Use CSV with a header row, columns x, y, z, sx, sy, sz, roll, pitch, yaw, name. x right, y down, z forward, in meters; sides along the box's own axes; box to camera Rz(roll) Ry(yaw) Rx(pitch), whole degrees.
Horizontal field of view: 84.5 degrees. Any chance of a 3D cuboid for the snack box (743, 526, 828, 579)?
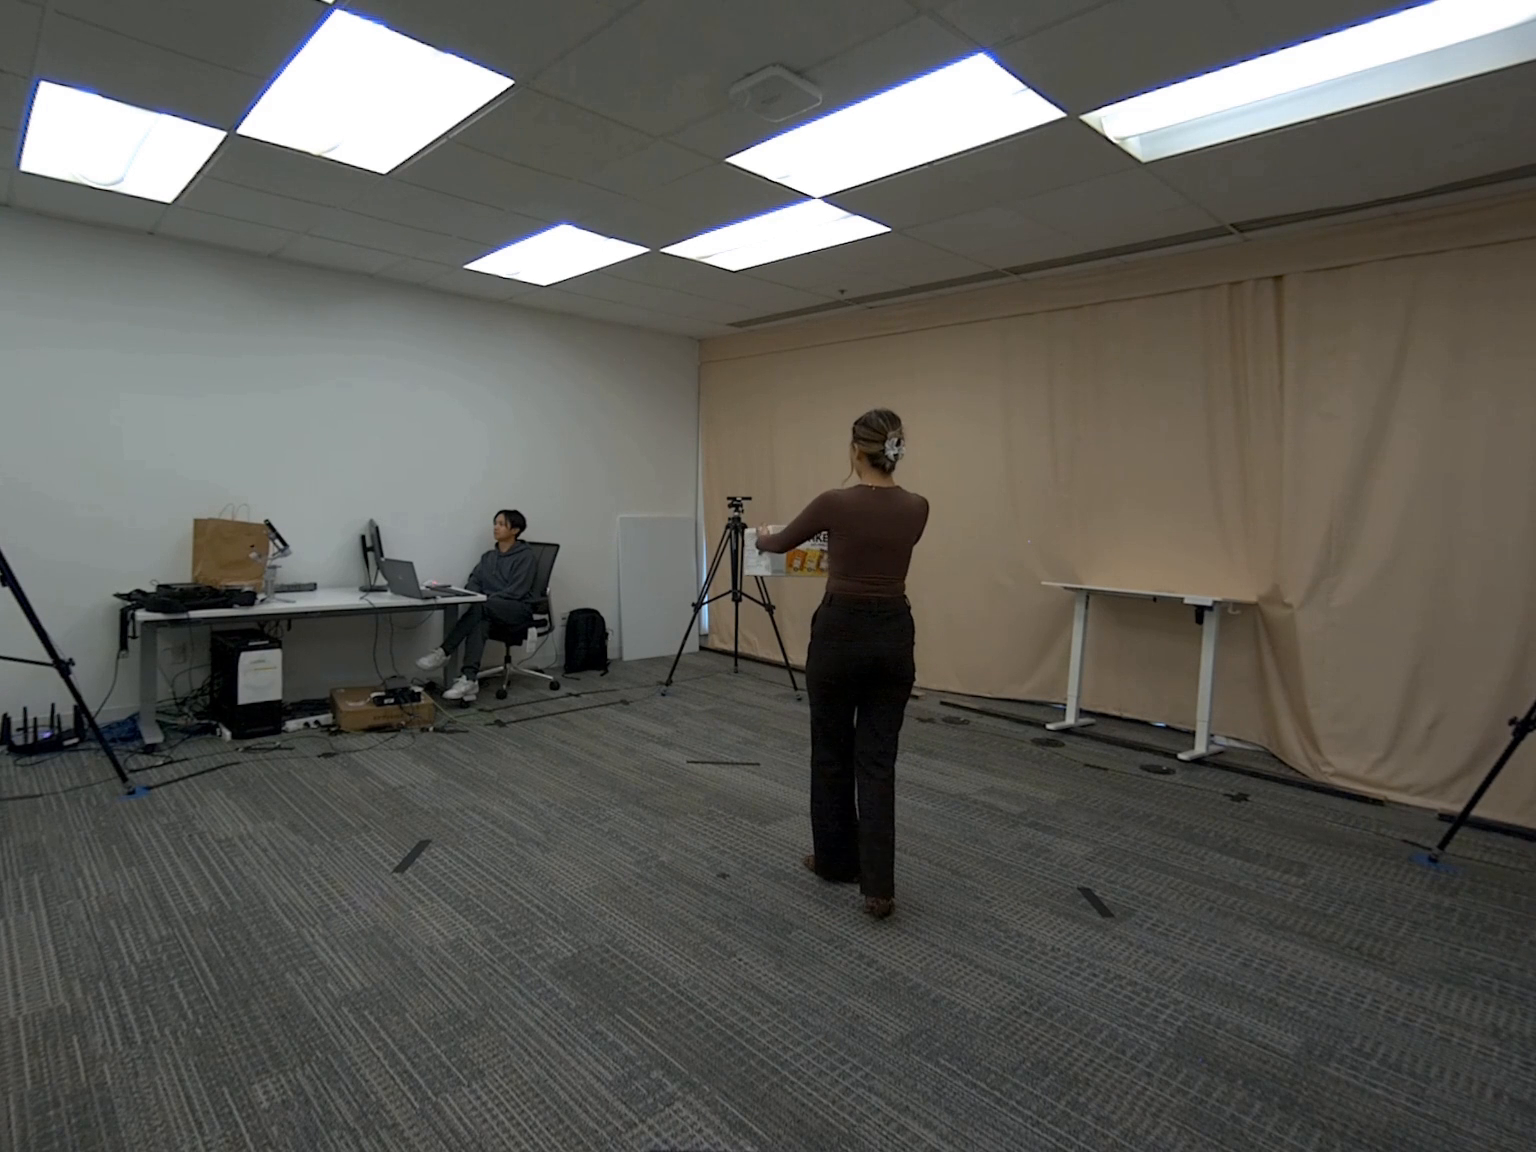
x,y,z,sx,sy,sz,roll,pitch,yaw,name
0.142,-0.095,3.533,0.399,0.206,0.345,0,0,-19,snack box
